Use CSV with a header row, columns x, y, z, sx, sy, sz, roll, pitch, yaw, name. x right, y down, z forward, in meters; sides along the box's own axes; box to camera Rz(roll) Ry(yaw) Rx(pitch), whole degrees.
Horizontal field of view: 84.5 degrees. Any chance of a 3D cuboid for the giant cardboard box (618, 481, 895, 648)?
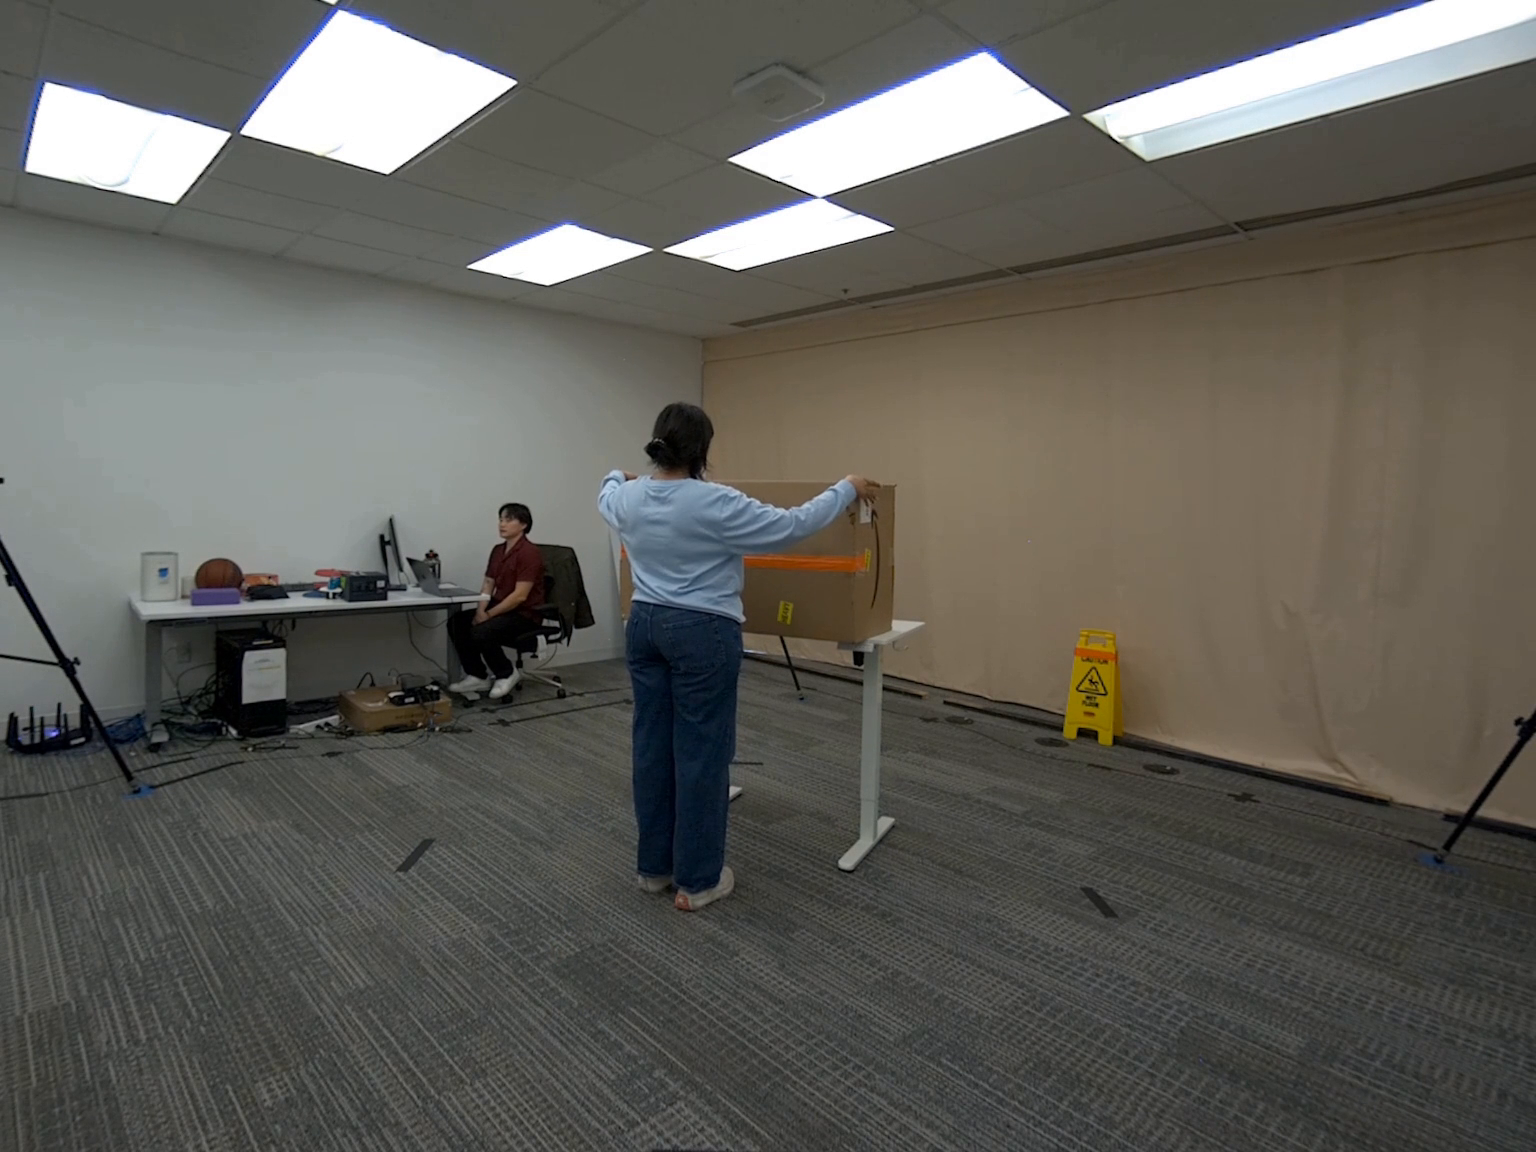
x,y,z,sx,sy,sz,roll,pitch,yaw,name
-0.056,-0.086,3.382,1.047,0.576,0.418,4,5,28,giant cardboard box
